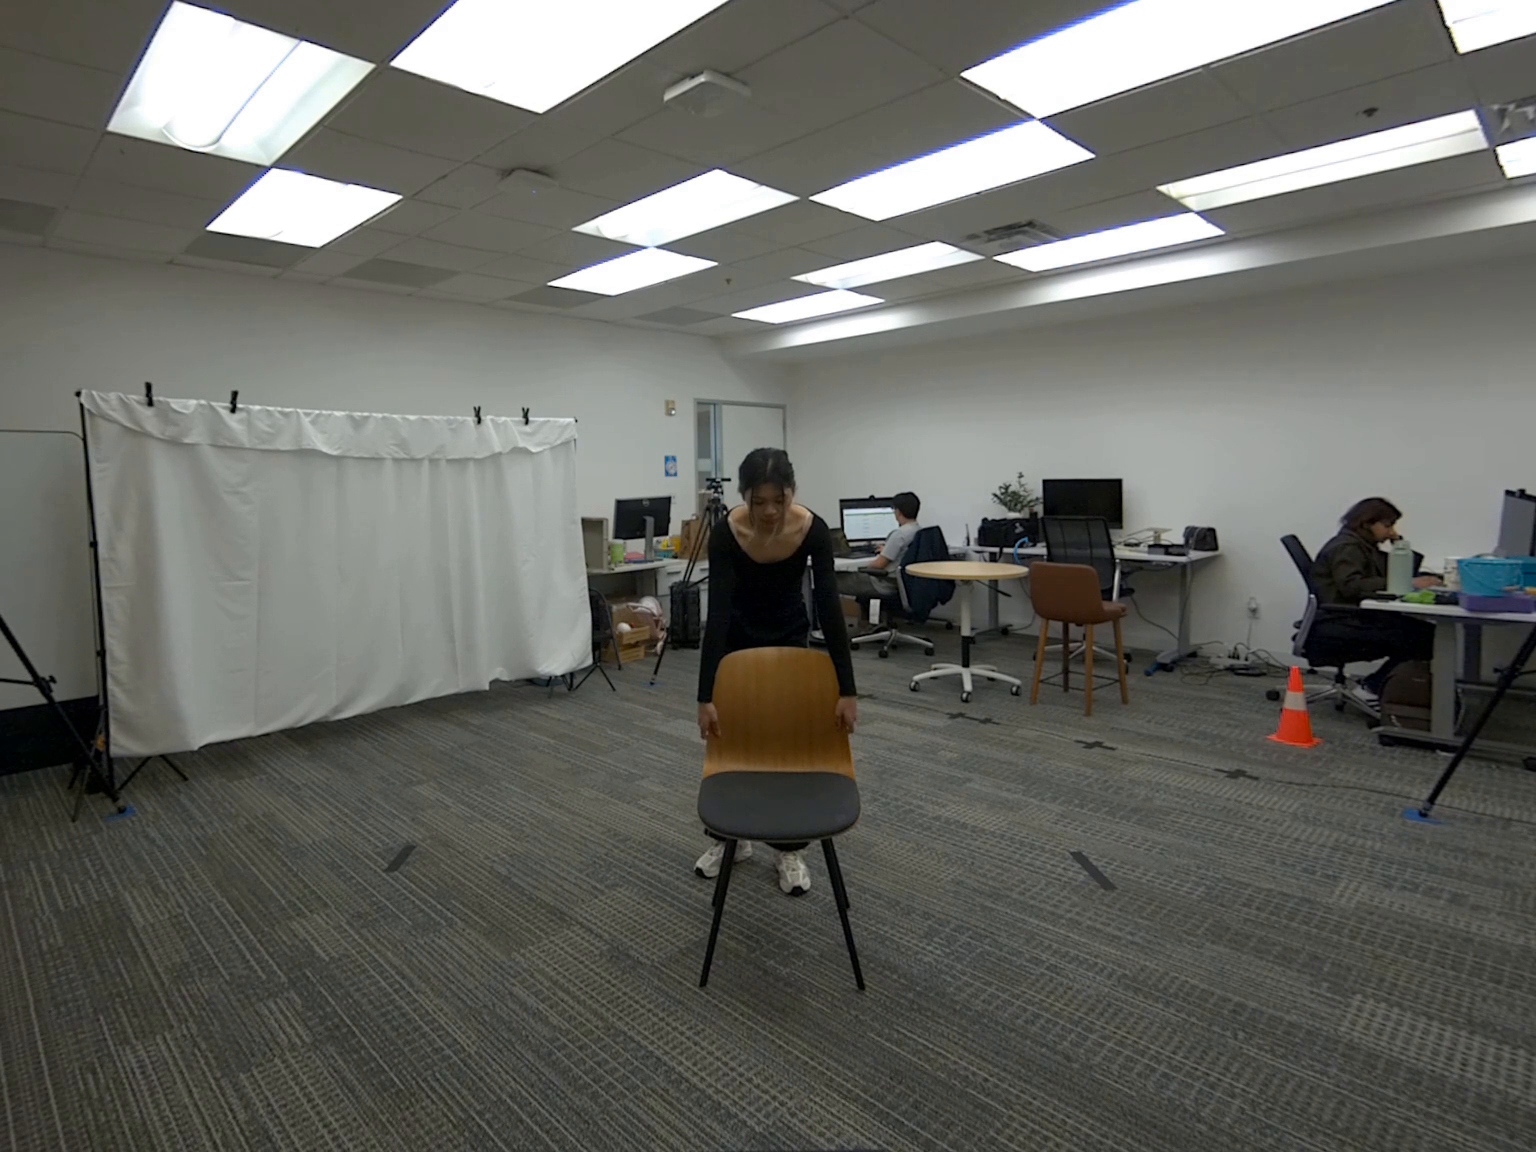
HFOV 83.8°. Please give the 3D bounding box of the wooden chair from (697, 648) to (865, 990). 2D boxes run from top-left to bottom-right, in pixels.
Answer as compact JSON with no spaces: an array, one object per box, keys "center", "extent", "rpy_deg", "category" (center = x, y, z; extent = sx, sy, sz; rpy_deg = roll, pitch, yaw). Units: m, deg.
[{"center":[0.035,0.683,2.518],"extent":[0.479,0.877,0.522],"rpy_deg":[0,0,1],"category":"wooden chair"}]
